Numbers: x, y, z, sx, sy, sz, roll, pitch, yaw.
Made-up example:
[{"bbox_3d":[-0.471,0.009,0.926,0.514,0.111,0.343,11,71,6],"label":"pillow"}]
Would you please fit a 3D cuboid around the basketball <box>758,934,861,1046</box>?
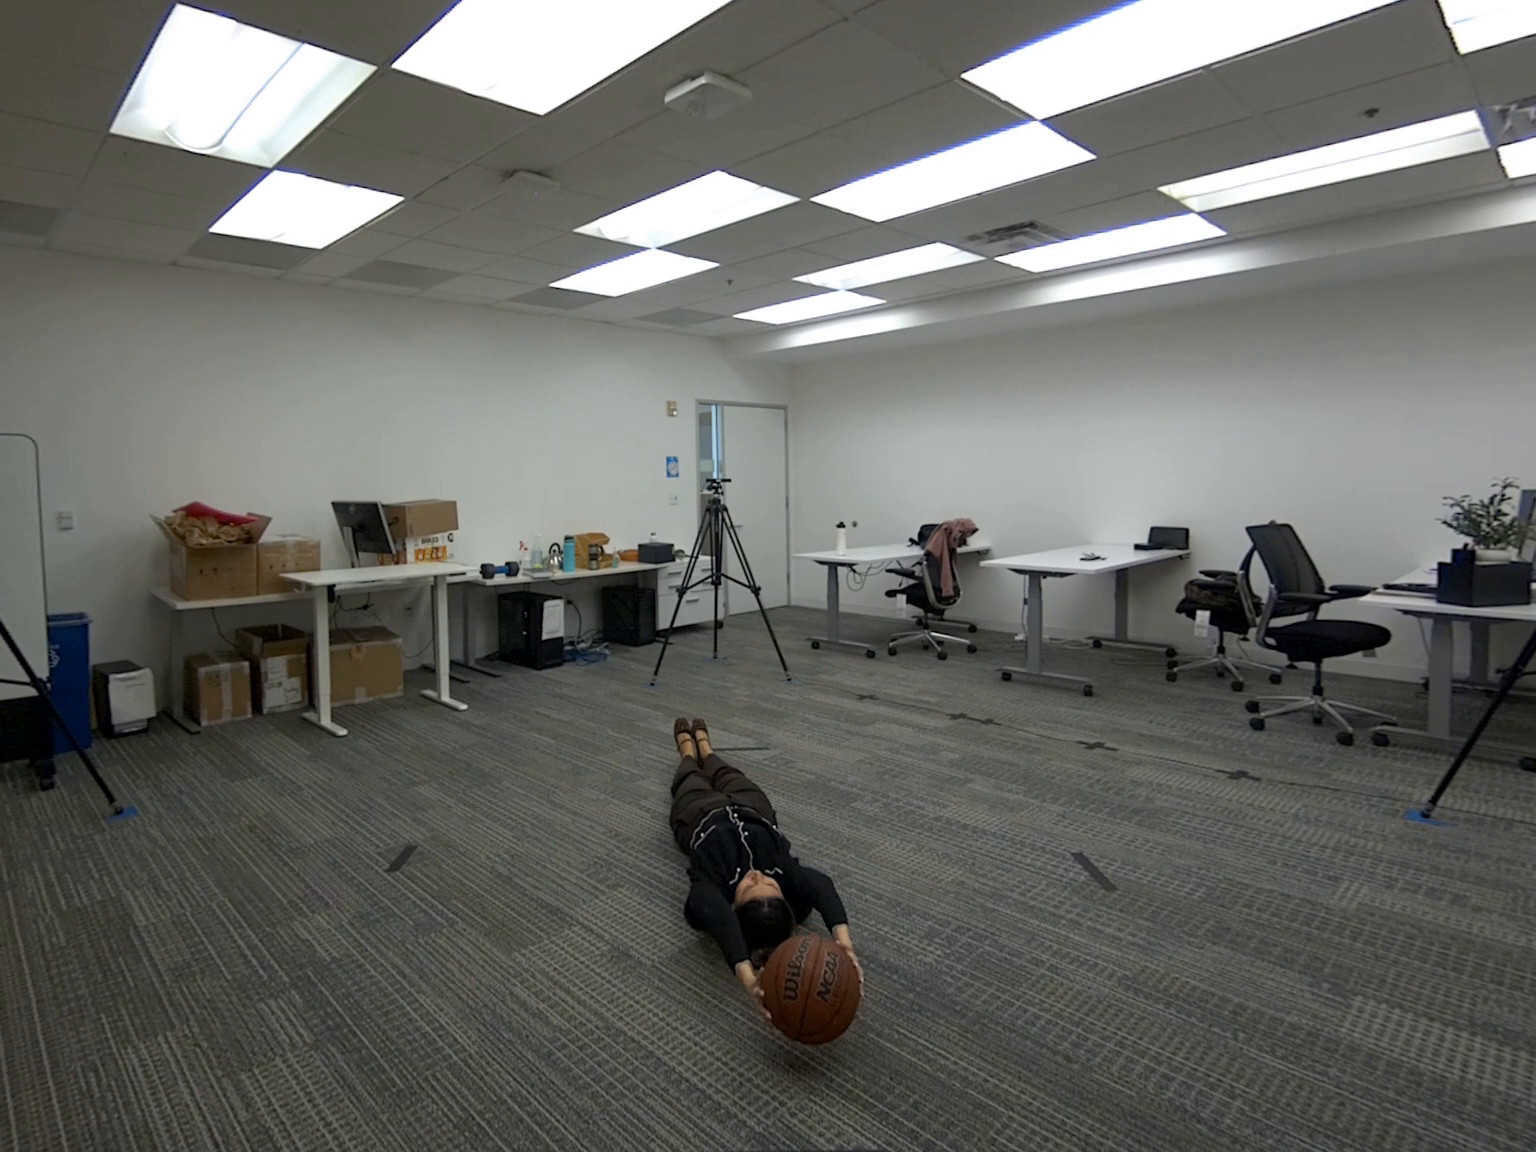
[{"bbox_3d":[0.114,1.000,2.061,0.236,0.235,0.237,-1,5,-2],"label":"basketball"}]
